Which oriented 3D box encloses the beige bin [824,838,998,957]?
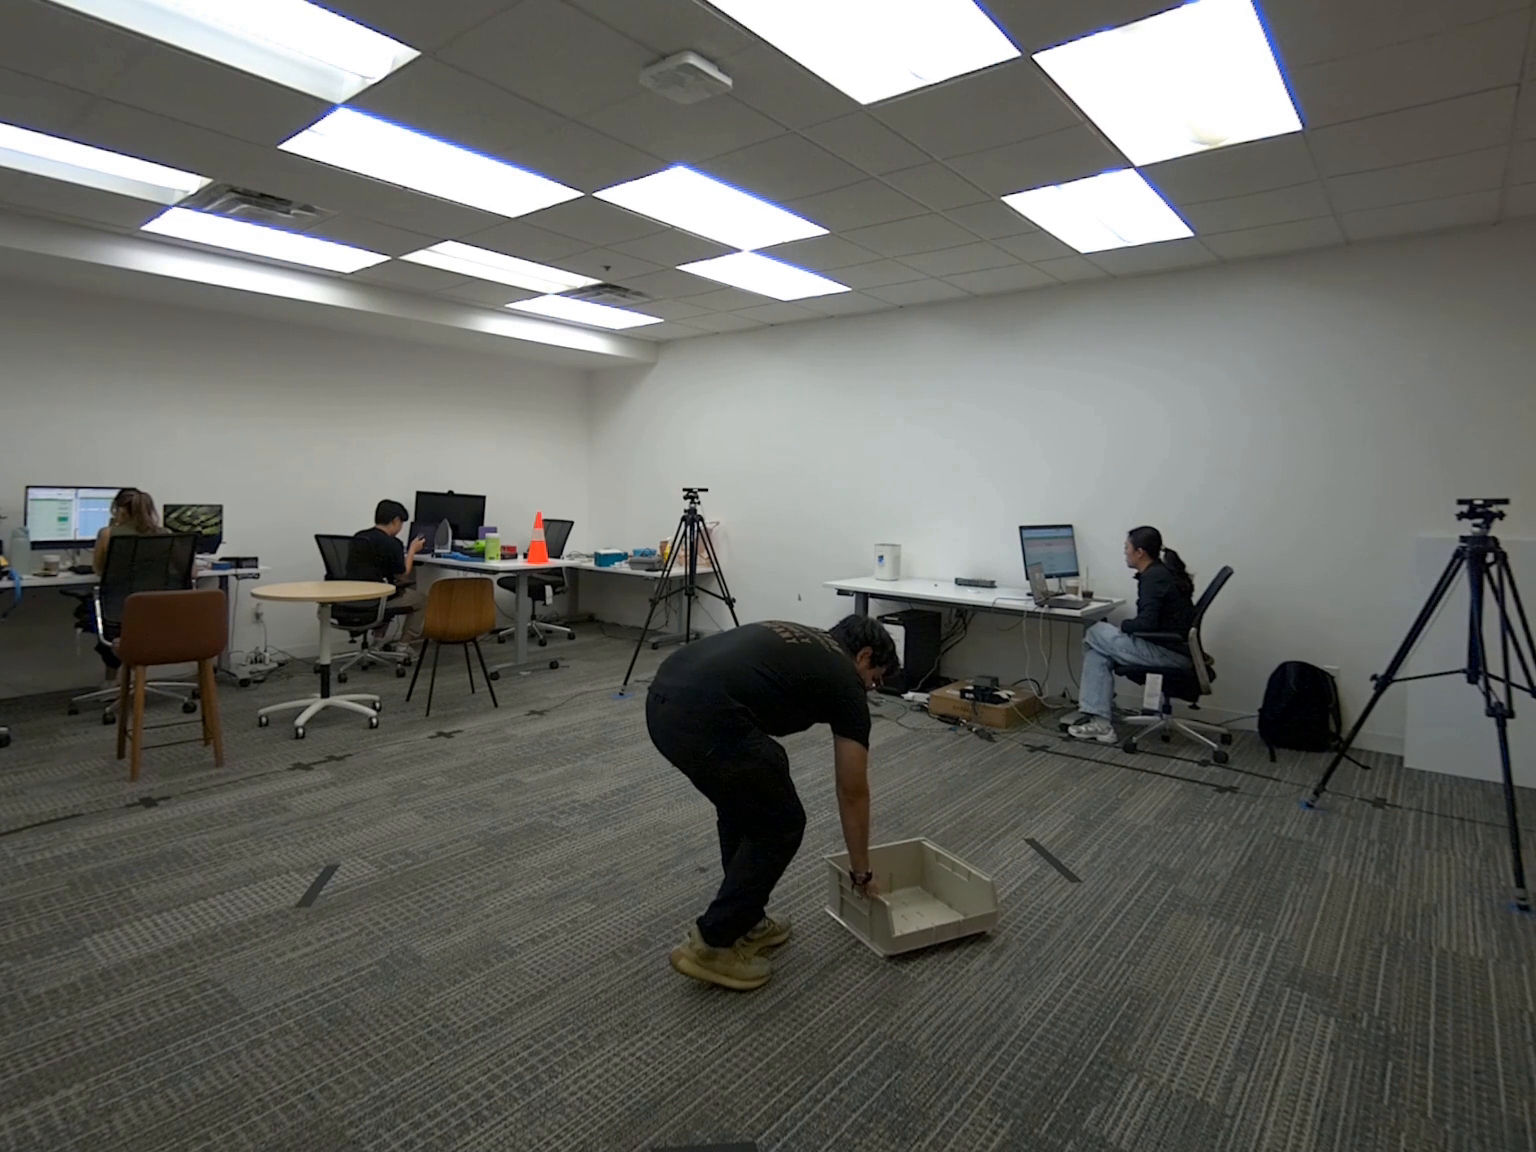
[{"bbox_3d":[0.449,1.027,2.749,0.412,0.188,0.388,-2,5,-28],"label":"beige bin"}]
